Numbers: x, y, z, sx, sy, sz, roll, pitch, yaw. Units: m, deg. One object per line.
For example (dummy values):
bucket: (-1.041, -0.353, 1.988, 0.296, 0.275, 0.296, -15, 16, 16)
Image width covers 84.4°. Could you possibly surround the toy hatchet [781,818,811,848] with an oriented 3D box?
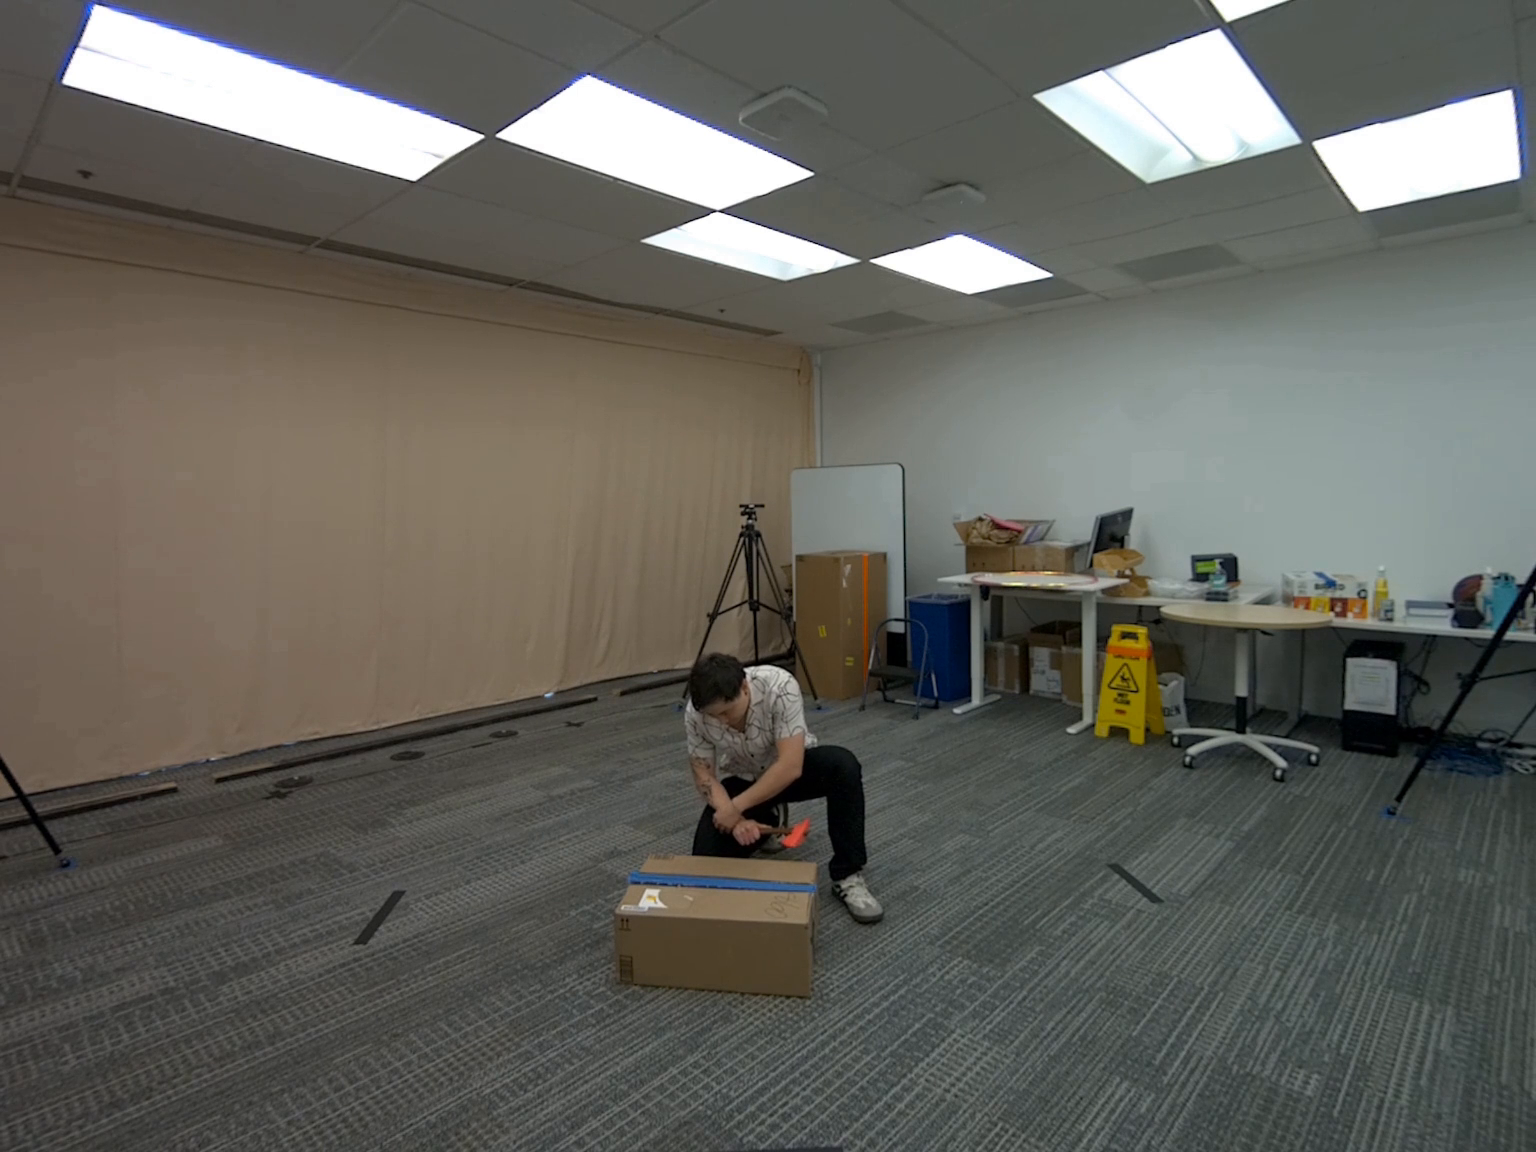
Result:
toy hatchet: (0.001, 0.889, 2.861, 0.274, 0.029, 0.131, -18, 22, 19)
